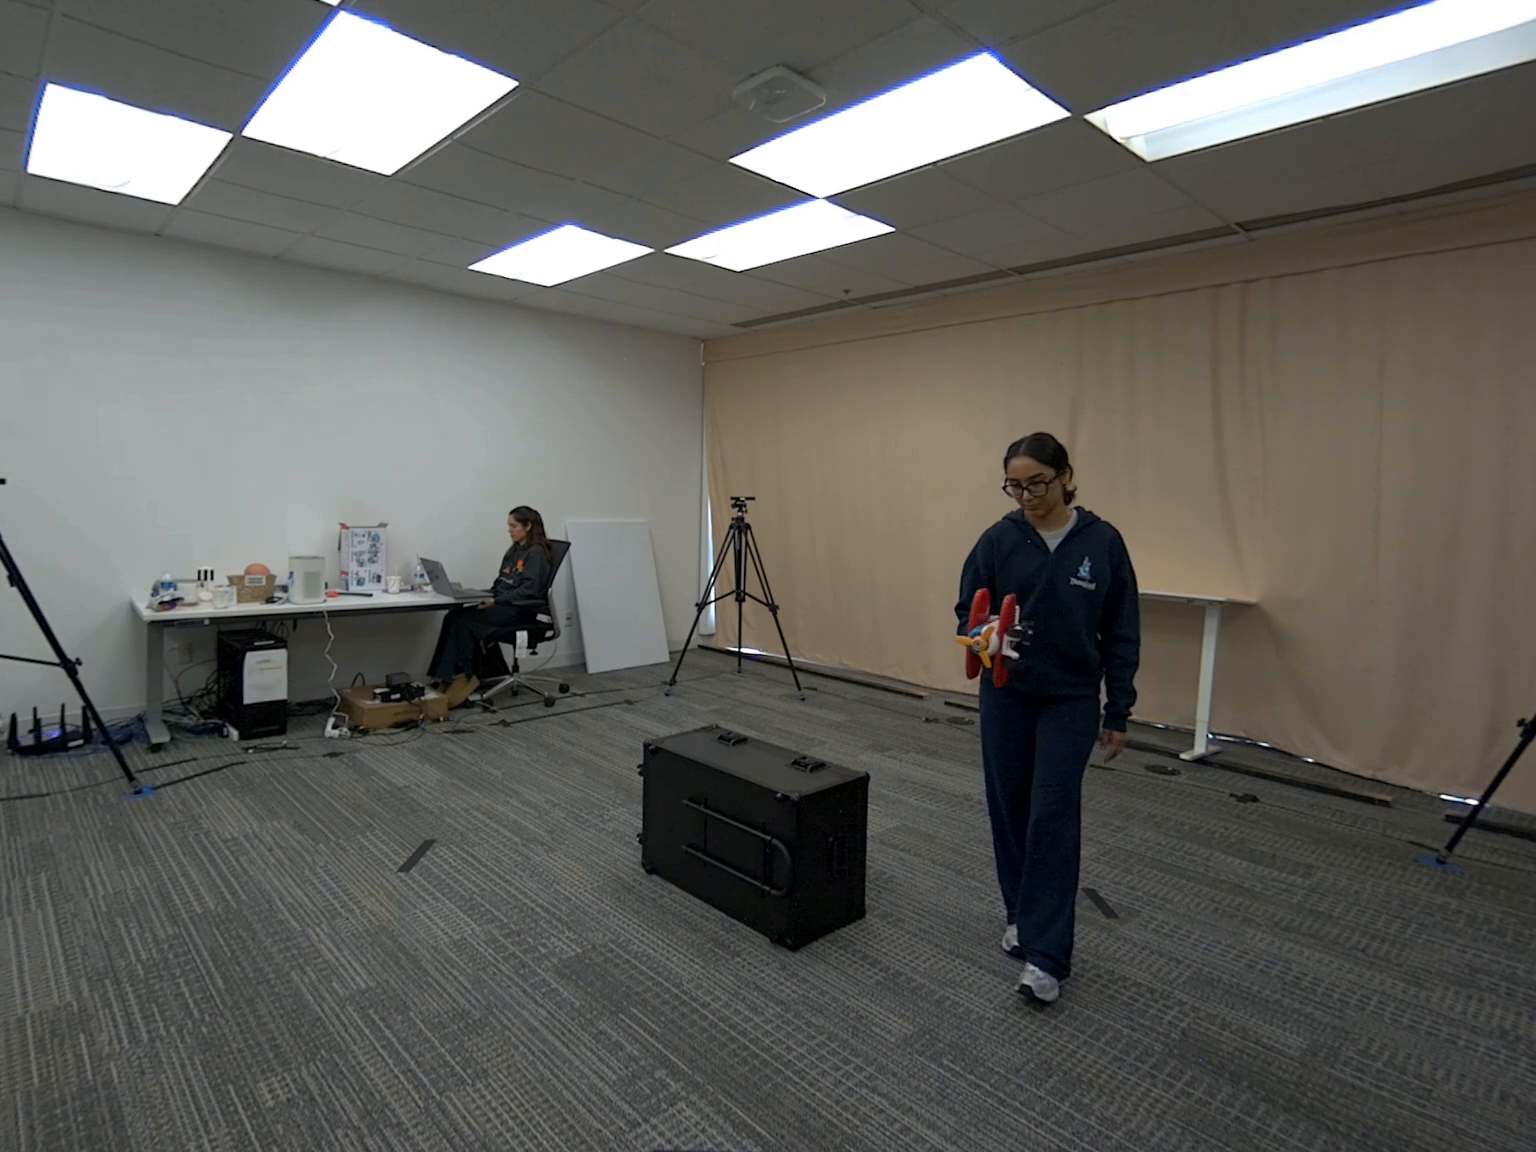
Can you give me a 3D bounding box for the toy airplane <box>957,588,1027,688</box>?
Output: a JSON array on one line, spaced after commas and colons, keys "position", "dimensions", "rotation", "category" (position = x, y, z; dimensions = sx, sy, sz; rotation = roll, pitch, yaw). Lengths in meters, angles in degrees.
[{"position": [0.631, 0.186, 2.323], "dimensions": [0.159, 0.253, 0.252], "rotation": [8, -14, 21], "category": "toy airplane"}]
